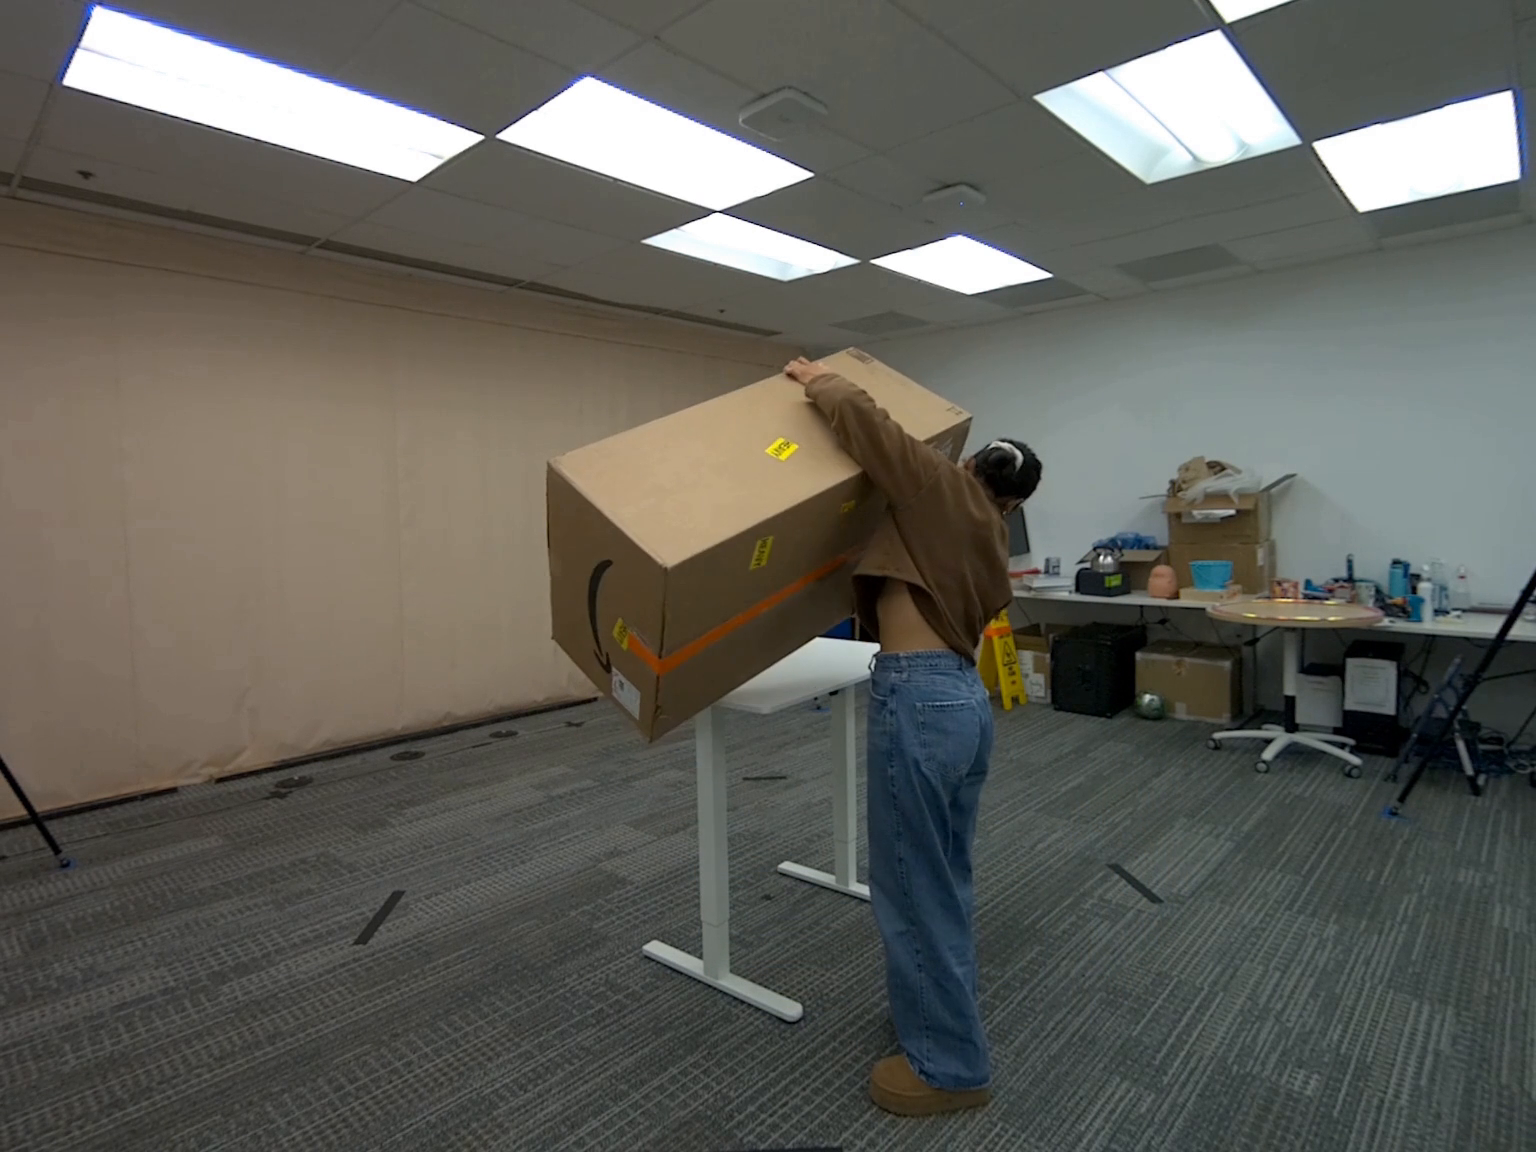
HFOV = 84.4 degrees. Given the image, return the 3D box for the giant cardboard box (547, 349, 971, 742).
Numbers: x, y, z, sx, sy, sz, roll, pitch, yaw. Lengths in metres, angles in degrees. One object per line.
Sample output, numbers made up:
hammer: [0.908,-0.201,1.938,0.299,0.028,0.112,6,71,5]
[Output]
giant cardboard box: [-0.017,-0.117,2.185,1.007,0.570,0.440,-28,55,-34]
